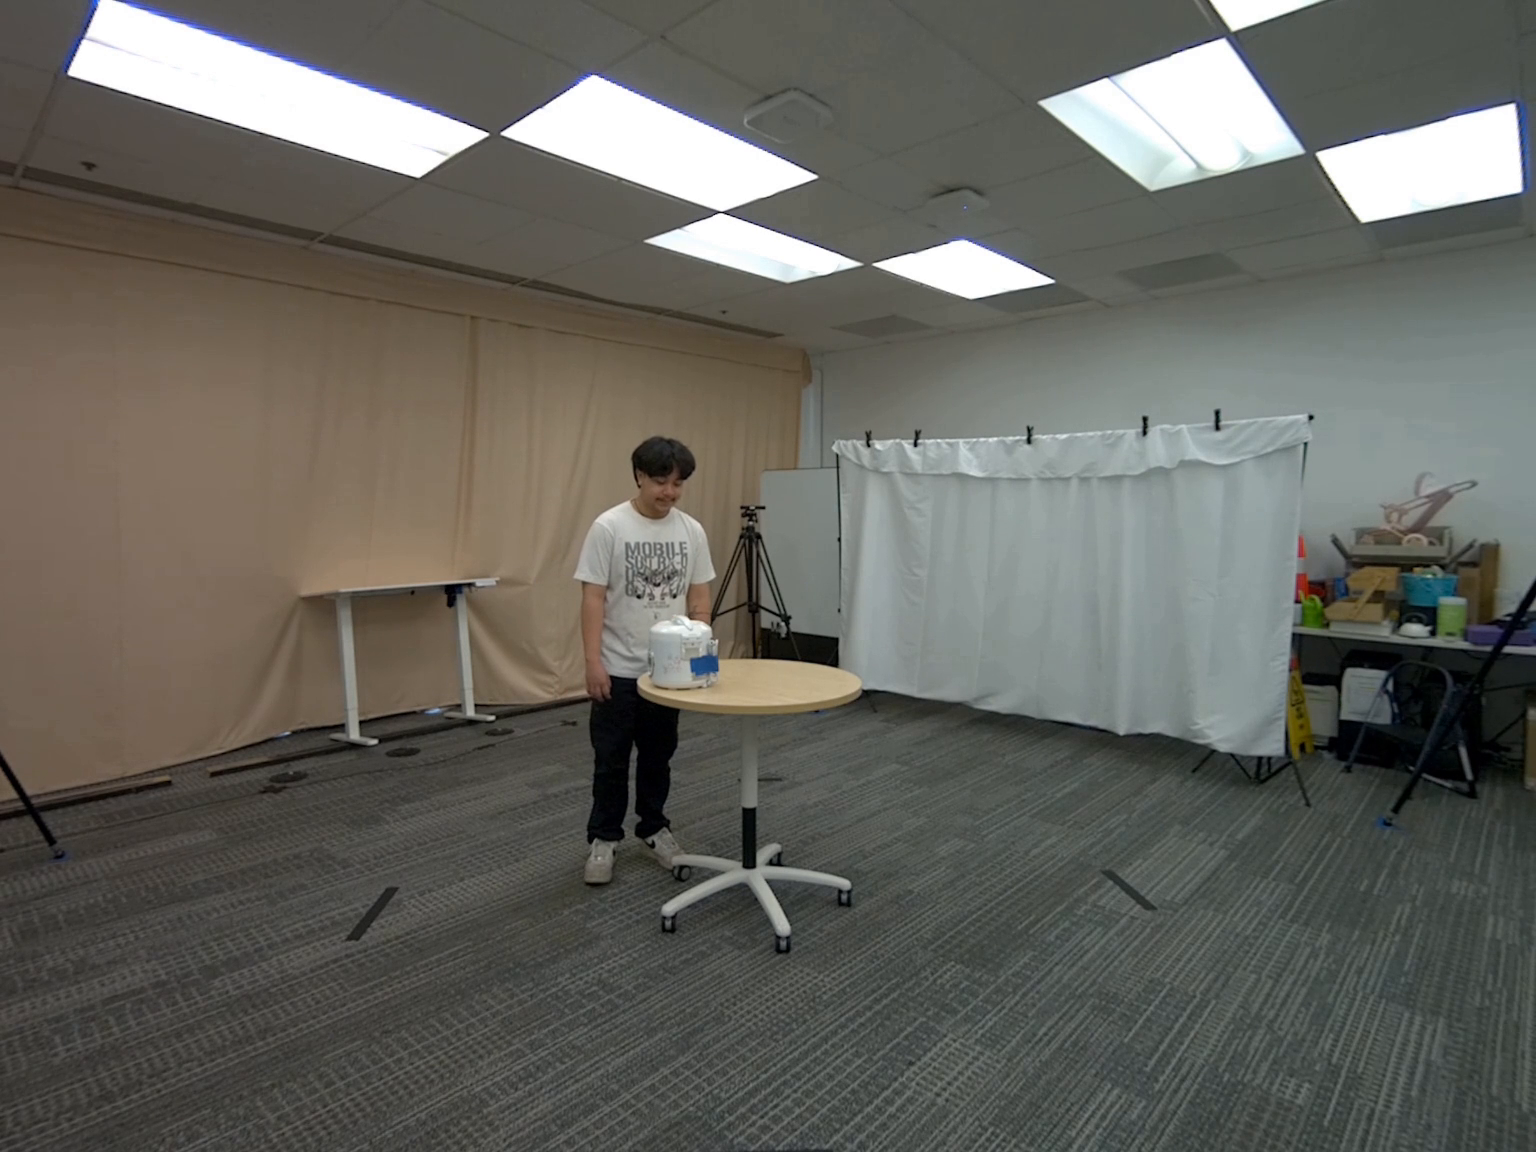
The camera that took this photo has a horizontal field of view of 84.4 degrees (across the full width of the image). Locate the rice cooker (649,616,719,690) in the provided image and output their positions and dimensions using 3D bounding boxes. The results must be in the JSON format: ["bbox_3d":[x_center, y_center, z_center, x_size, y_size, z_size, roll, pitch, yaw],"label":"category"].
[{"bbox_3d":[-0.288,0.248,2.795,0.212,0.232,0.226,-1,3,-25],"label":"rice cooker"}]
